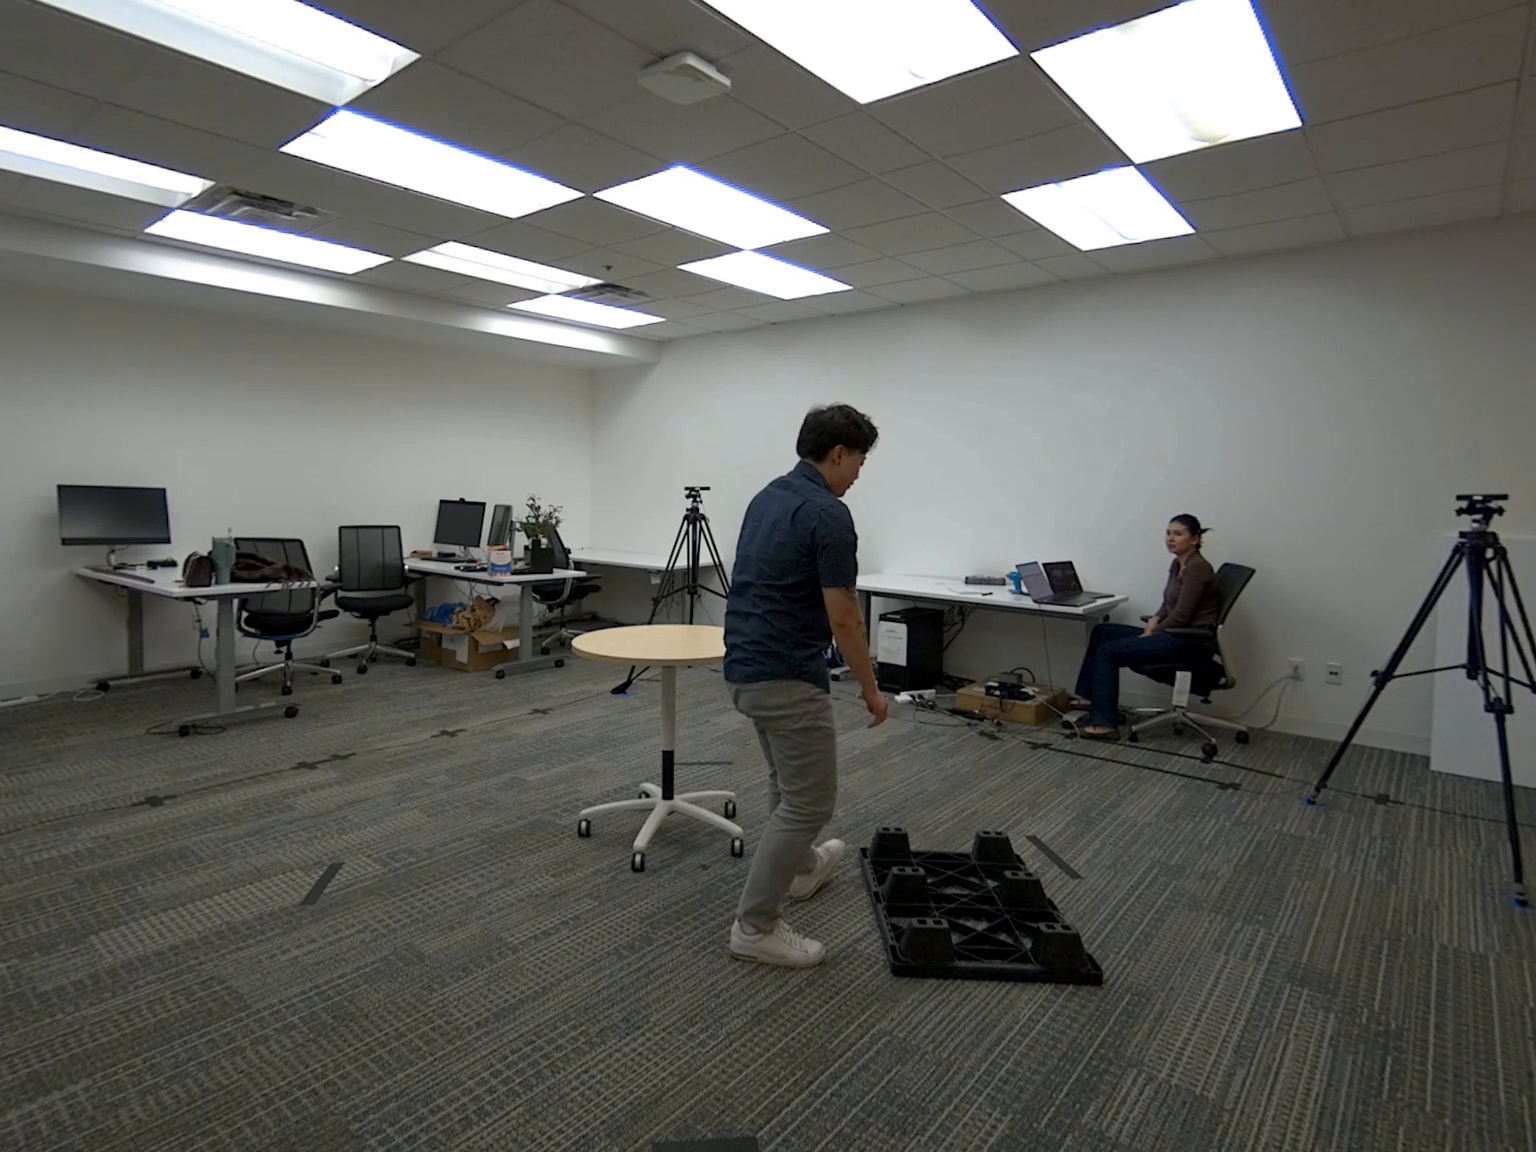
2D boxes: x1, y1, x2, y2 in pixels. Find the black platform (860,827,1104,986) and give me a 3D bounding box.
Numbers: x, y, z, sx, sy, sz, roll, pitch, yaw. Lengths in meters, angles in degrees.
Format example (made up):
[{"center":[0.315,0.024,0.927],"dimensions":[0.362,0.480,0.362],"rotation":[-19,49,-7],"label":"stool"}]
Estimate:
[{"center":[0.650,1.045,2.812],"dimensions":[0.606,0.142,0.809],"rotation":[1,6,0],"label":"black platform"}]
